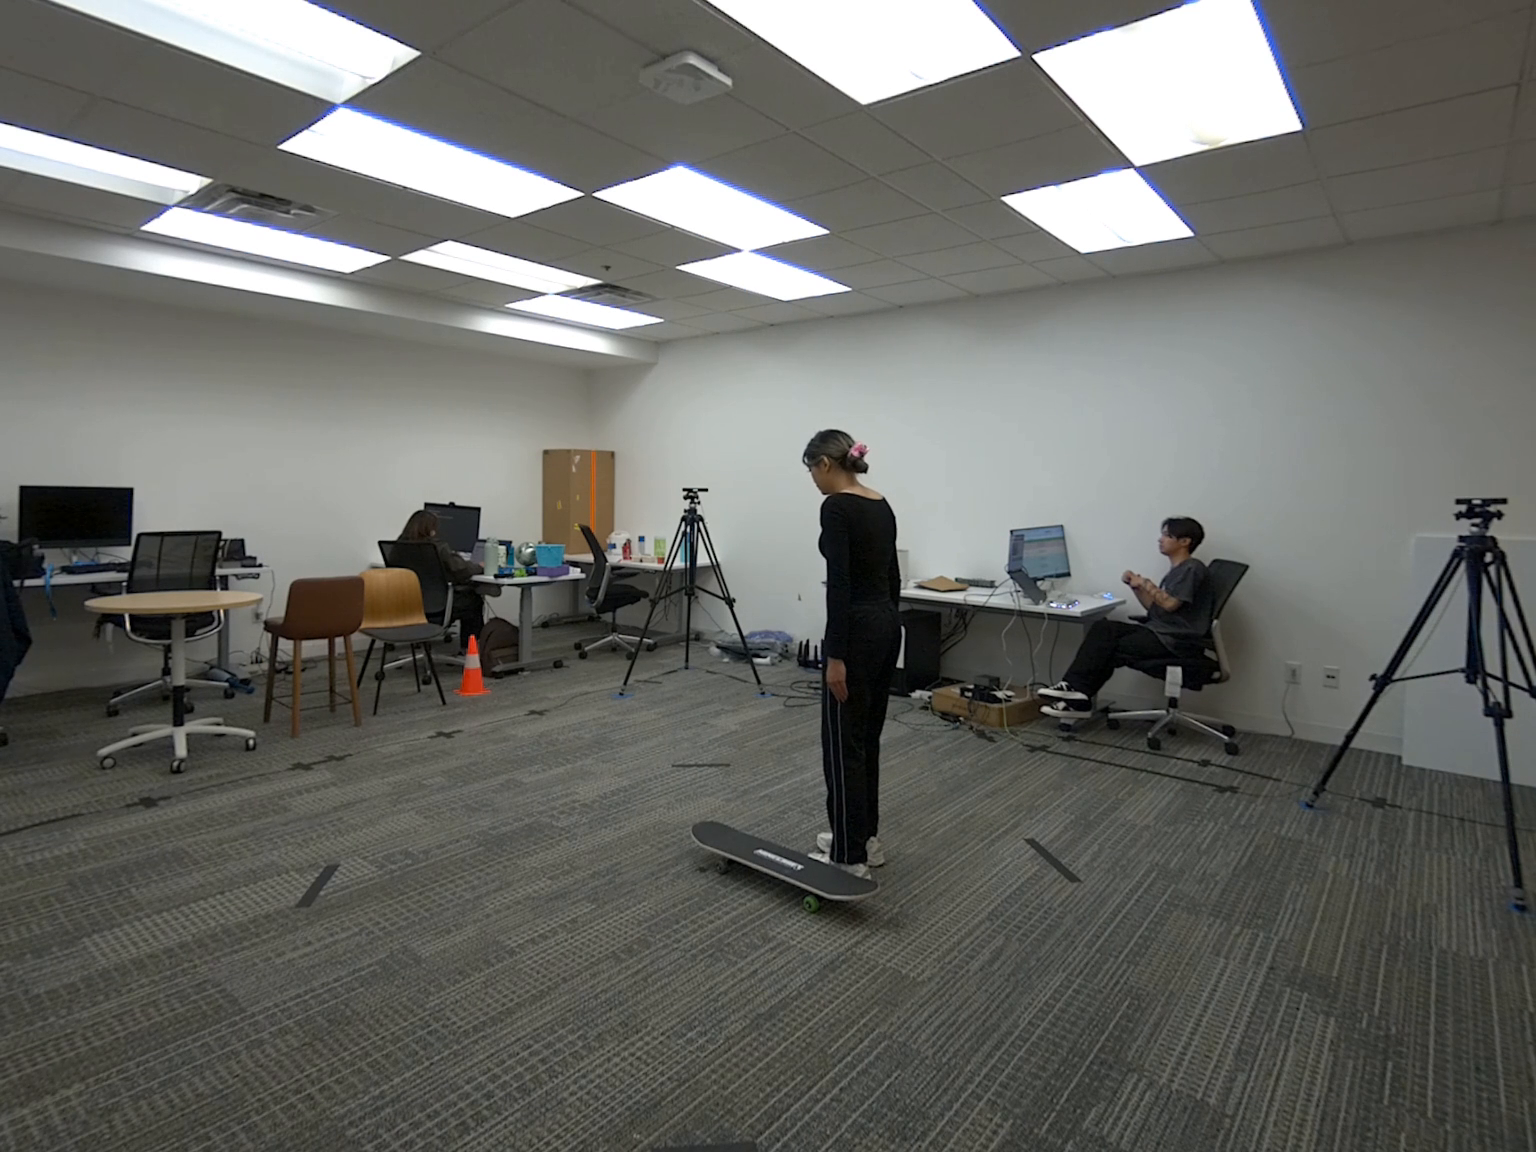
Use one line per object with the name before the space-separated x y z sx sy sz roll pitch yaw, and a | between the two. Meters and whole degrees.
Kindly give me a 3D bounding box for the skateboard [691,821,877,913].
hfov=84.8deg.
skateboard | 0.032 1.030 2.998 0.812 0.110 0.188 6 8 40
